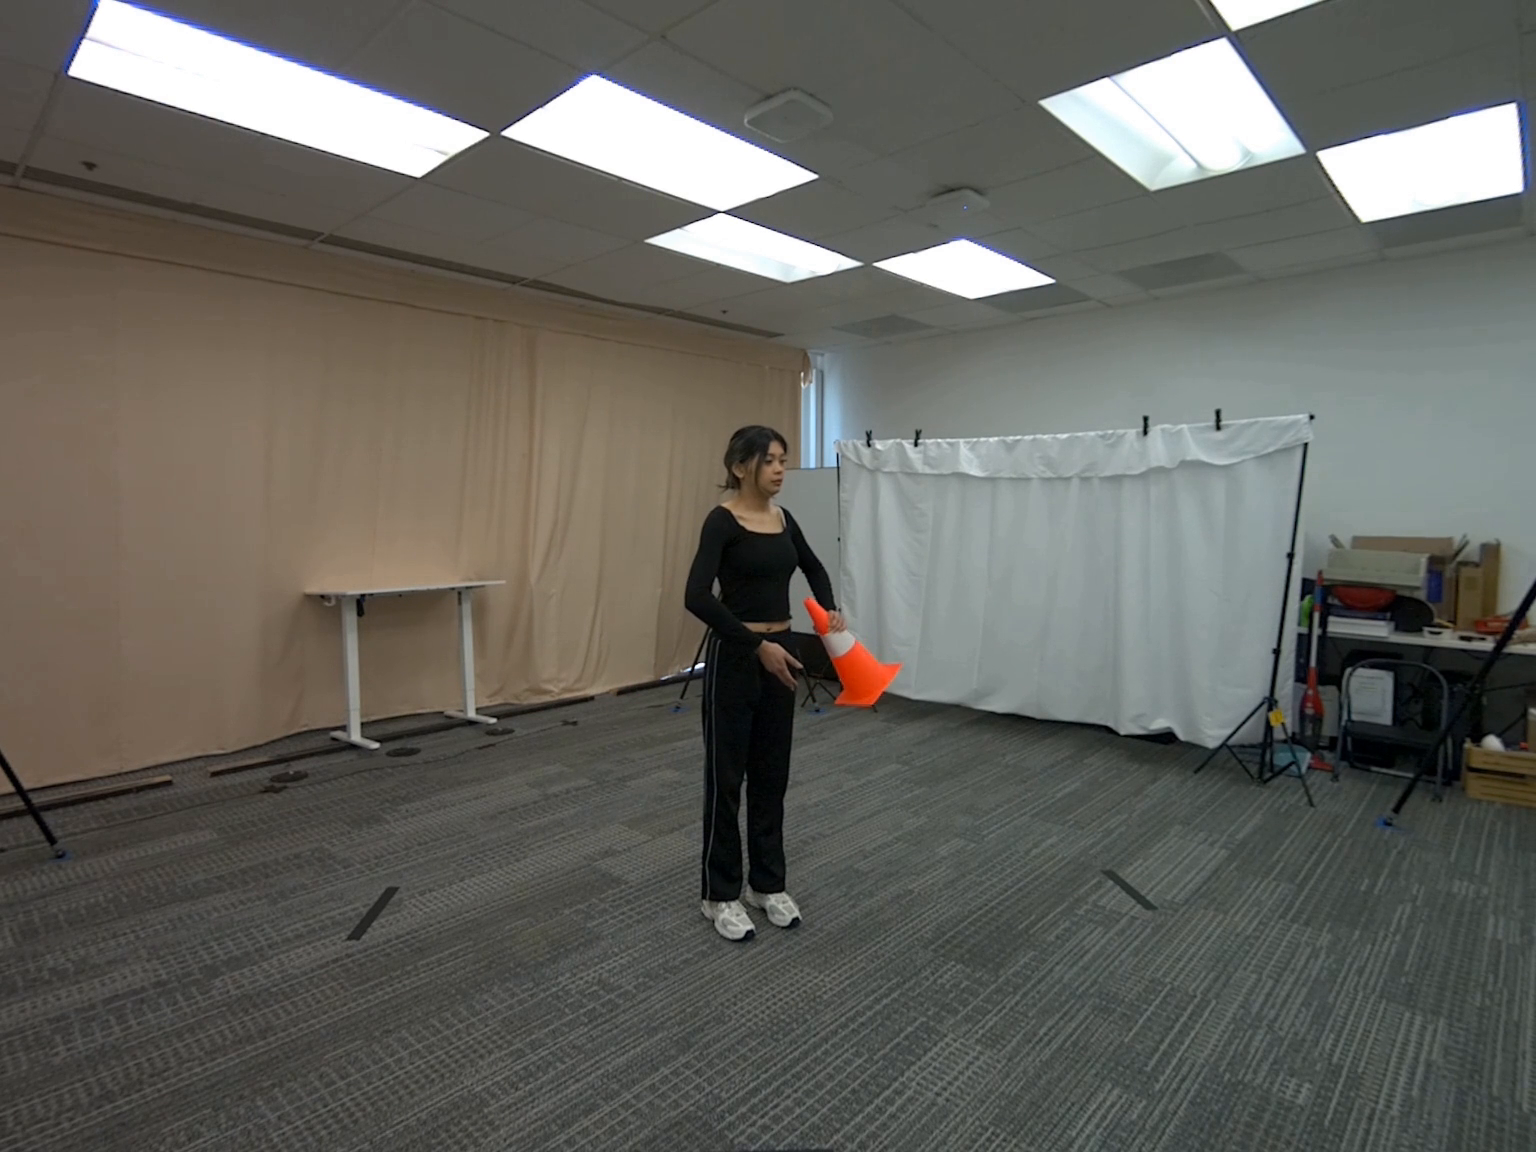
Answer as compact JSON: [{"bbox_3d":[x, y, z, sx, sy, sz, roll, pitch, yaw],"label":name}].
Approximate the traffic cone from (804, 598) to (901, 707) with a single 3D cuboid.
[{"bbox_3d":[0.232,0.227,2.815,0.203,0.378,0.208,-45,15,-31],"label":"traffic cone"}]
